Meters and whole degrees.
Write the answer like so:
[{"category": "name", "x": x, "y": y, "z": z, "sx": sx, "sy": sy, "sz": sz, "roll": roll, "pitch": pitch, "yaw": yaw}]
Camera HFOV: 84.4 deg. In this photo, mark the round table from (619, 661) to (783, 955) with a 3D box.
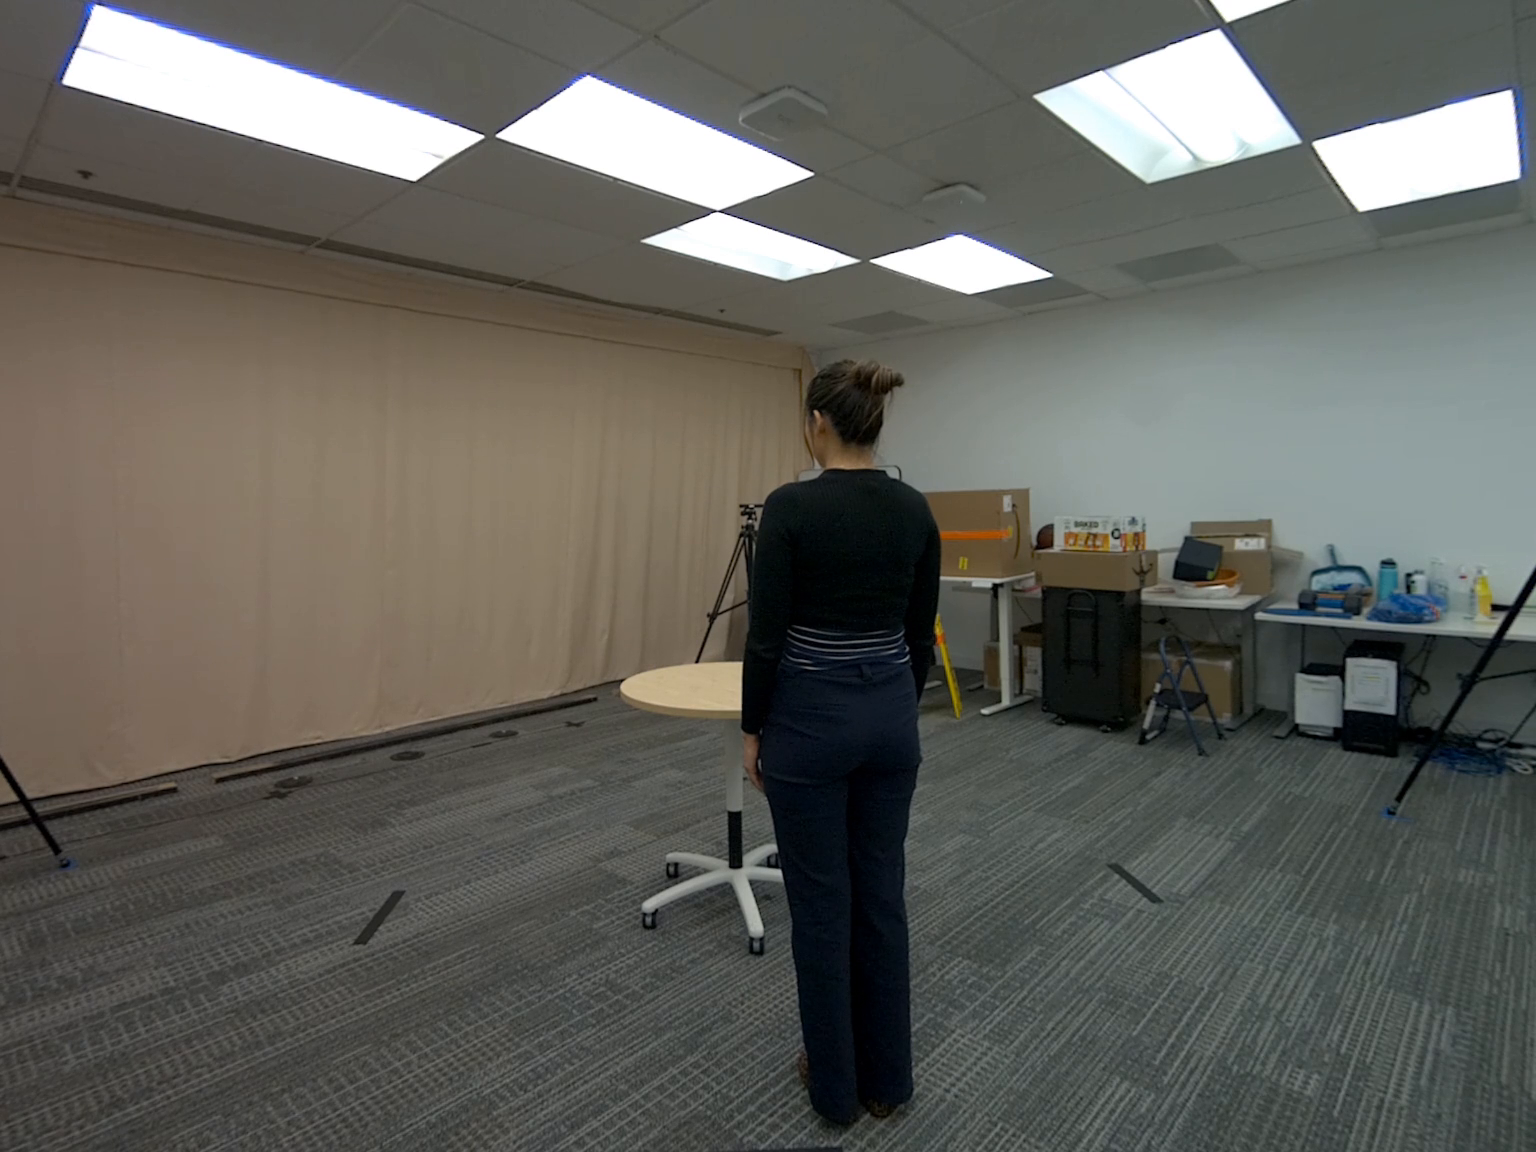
[{"category": "round table", "x": -0.110, "y": 0.762, "z": 2.904, "sx": 0.763, "sy": 0.792, "sz": 0.767, "roll": -1, "pitch": 4, "yaw": -2}]
